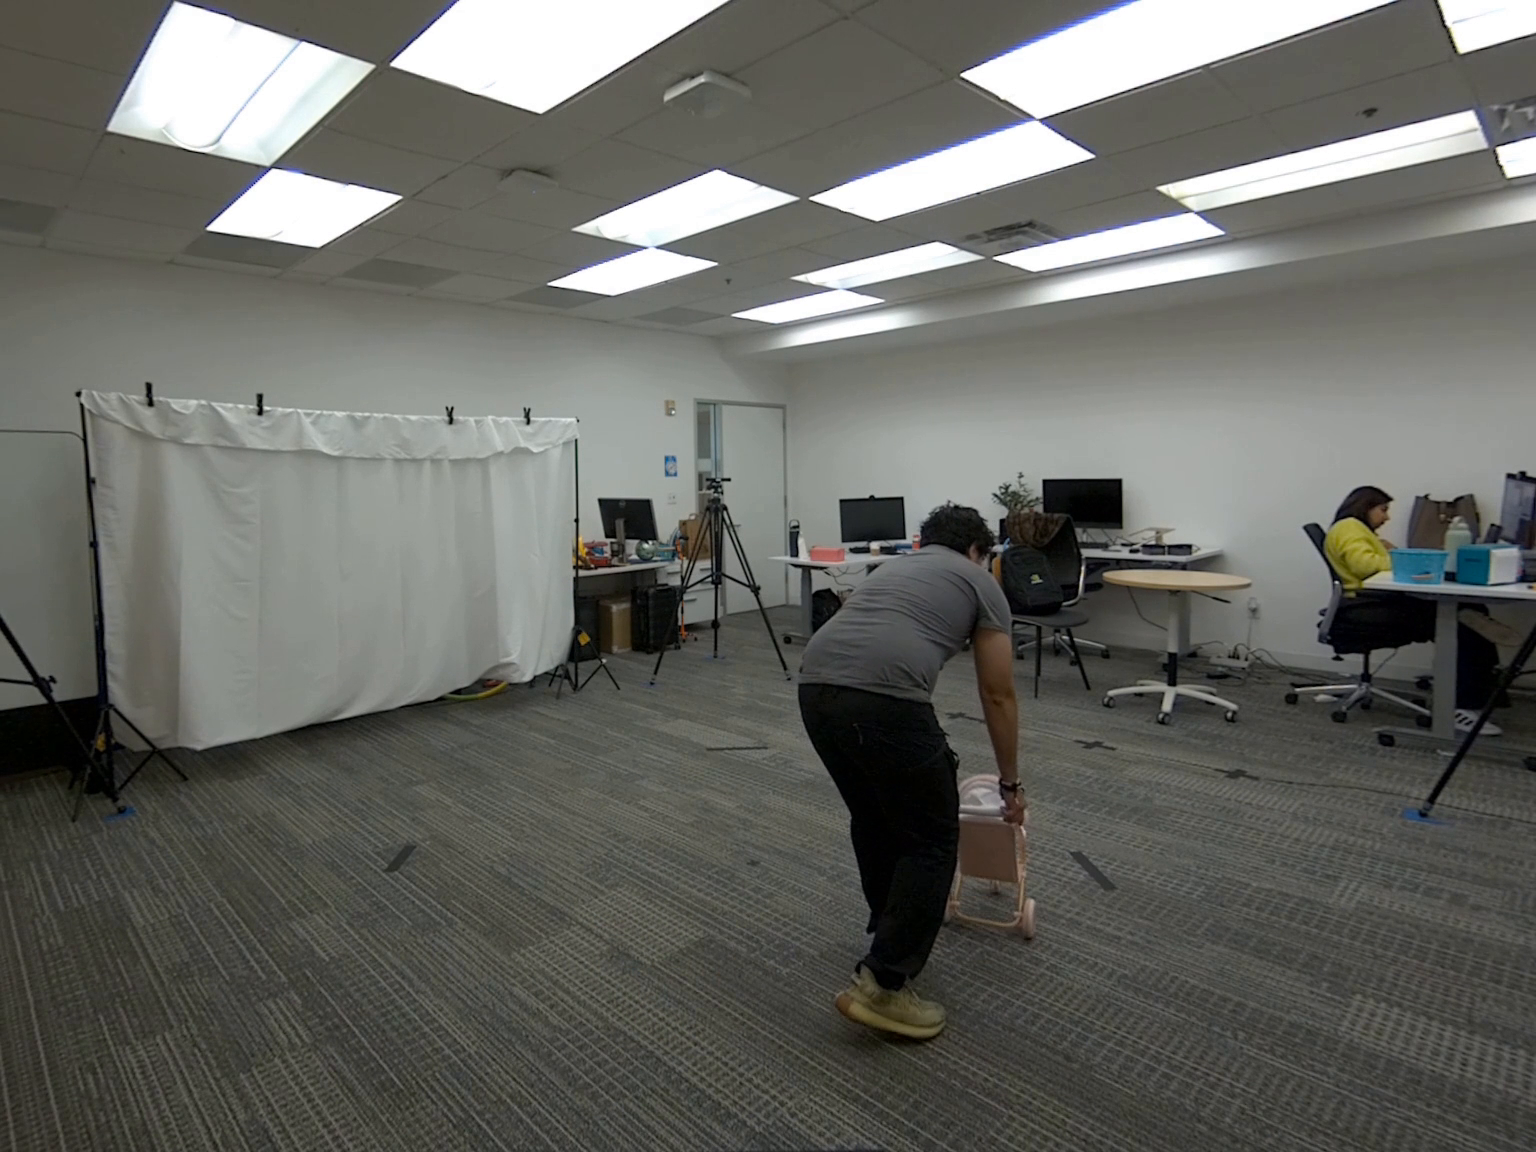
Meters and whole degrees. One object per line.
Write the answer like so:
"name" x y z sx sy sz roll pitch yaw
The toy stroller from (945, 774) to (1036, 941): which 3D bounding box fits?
"toy stroller" 0.698 0.856 2.675 0.288 0.525 0.339 1 20 25
